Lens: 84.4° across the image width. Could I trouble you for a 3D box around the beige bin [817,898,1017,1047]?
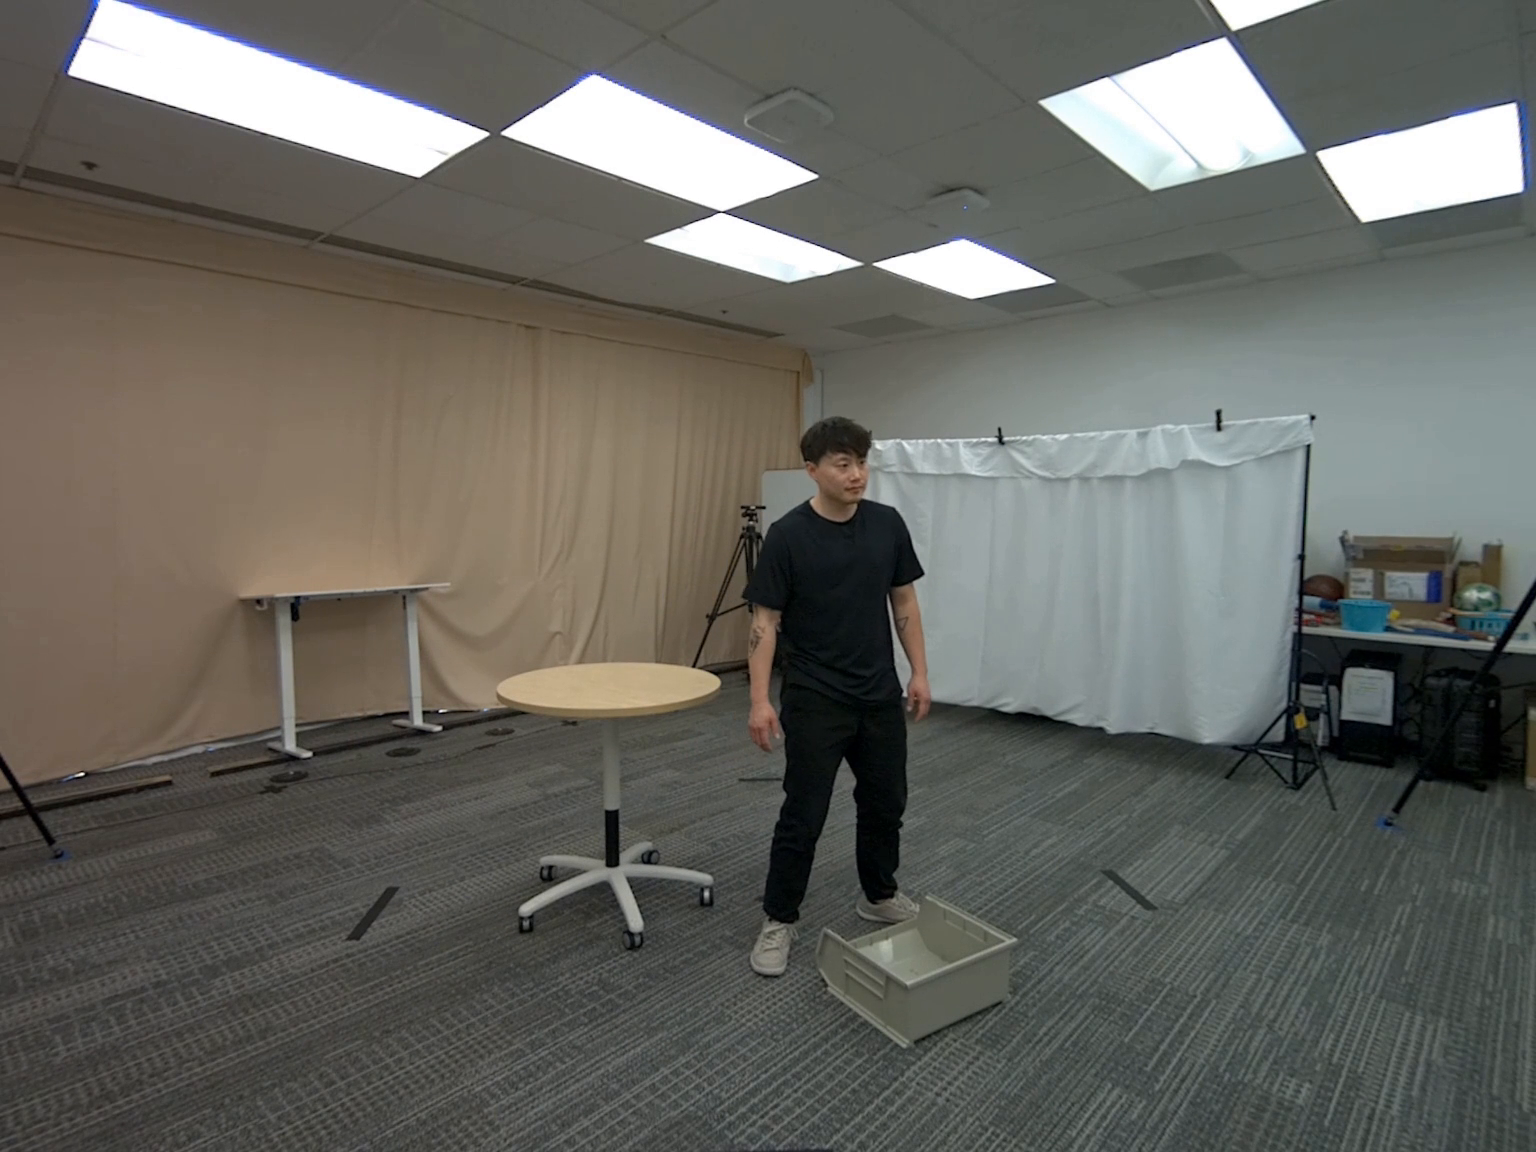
[{"bbox_3d":[0.424,1.103,2.403,0.410,0.188,0.389,-3,5,-33],"label":"beige bin"}]
